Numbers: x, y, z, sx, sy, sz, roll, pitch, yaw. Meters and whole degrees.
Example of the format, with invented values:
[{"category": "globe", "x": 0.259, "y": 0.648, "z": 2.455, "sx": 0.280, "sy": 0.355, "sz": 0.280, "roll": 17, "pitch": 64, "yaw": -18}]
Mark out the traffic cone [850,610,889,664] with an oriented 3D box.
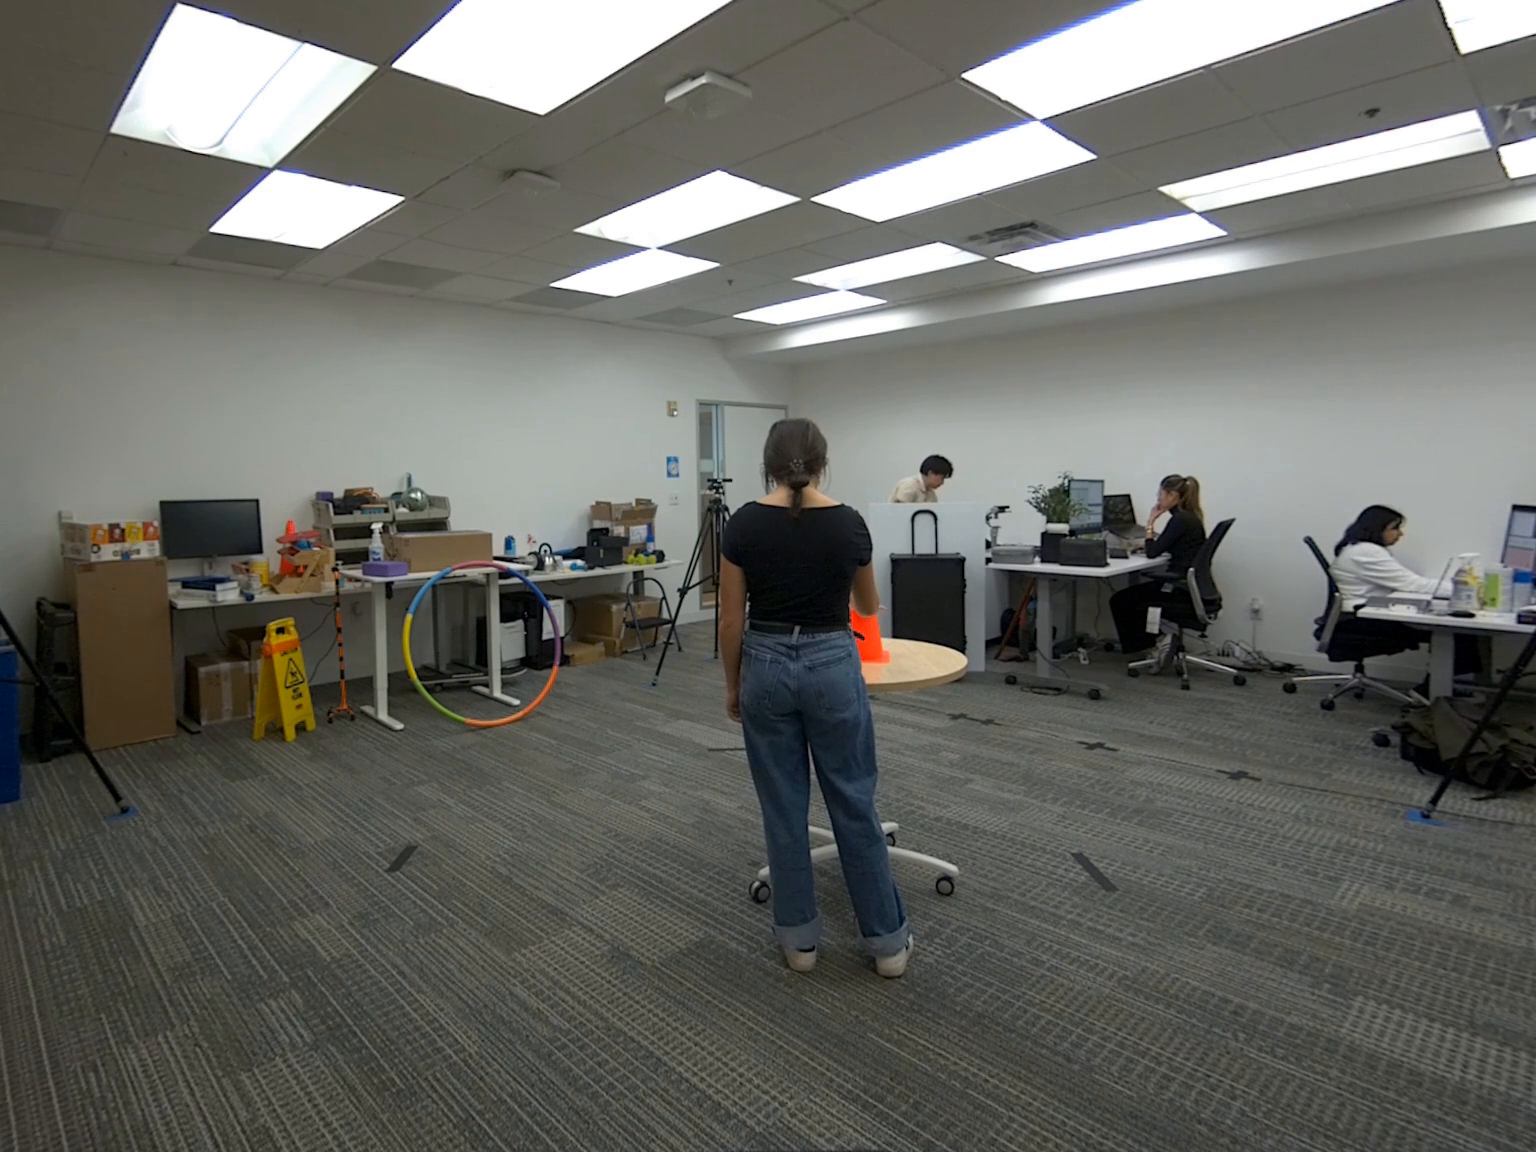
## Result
[{"category": "traffic cone", "x": 0.315, "y": 0.091, "z": 2.913, "sx": 0.204, "sy": 0.382, "sz": 0.205, "roll": -2, "pitch": 5, "yaw": 4}]
